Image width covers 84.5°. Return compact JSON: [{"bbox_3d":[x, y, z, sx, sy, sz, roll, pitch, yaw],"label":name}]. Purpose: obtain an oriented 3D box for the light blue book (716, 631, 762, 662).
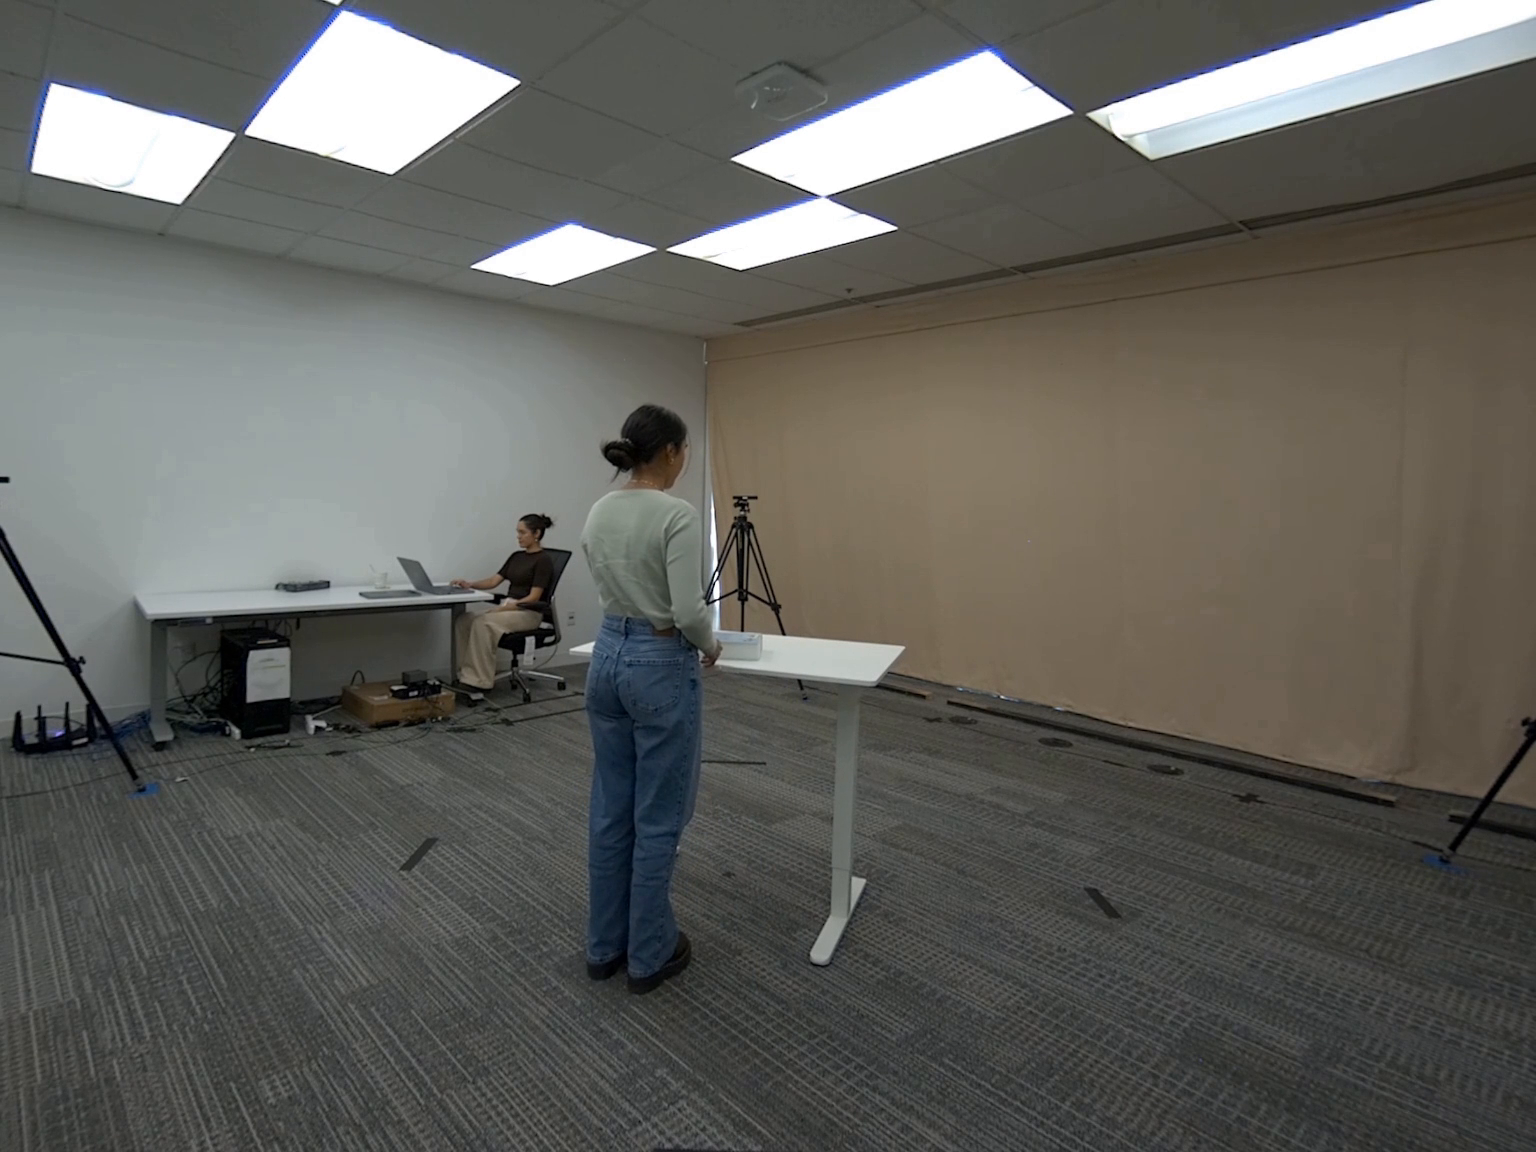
[{"bbox_3d":[-0.158,0.231,2.742,0.262,0.059,0.191,1,6,4],"label":"light blue book"}]
